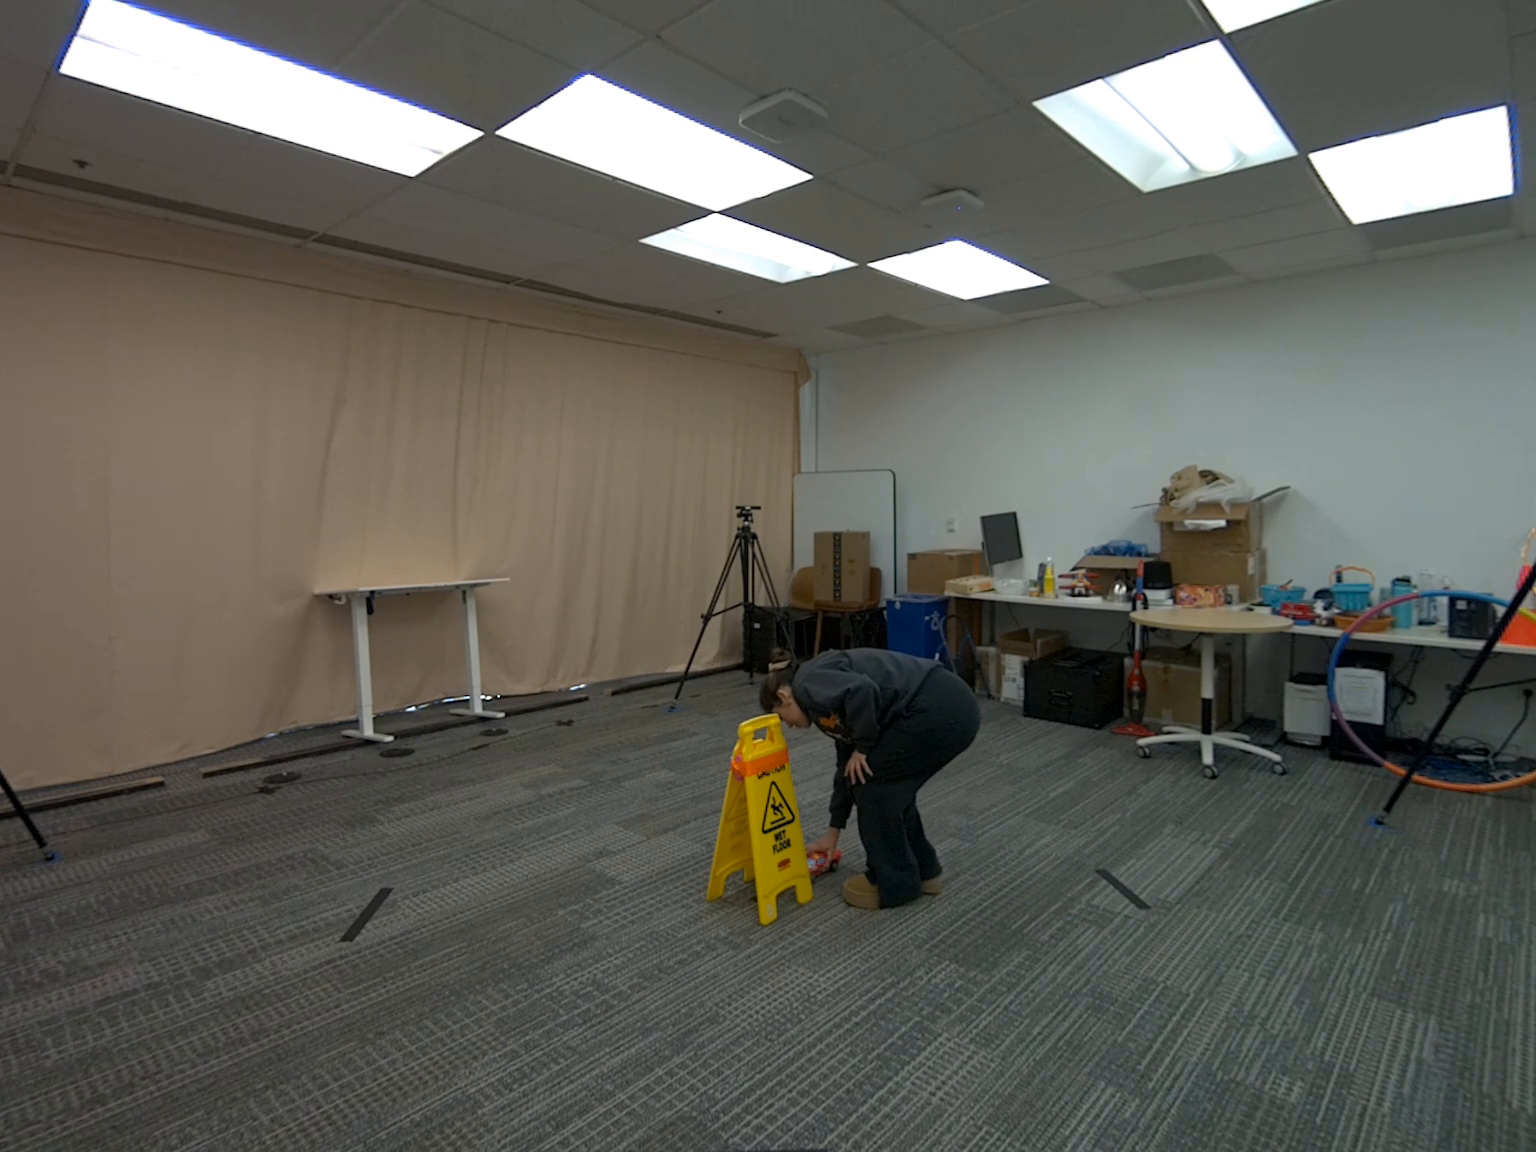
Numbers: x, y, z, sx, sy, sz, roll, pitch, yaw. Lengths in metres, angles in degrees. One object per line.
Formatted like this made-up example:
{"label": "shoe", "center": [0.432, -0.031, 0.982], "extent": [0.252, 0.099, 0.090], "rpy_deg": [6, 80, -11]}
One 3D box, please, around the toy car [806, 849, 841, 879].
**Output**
{"label": "toy car", "center": [0.211, 1.087, 3.206], "extent": [0.248, 0.082, 0.135], "rpy_deg": [-21, 18, -41]}
